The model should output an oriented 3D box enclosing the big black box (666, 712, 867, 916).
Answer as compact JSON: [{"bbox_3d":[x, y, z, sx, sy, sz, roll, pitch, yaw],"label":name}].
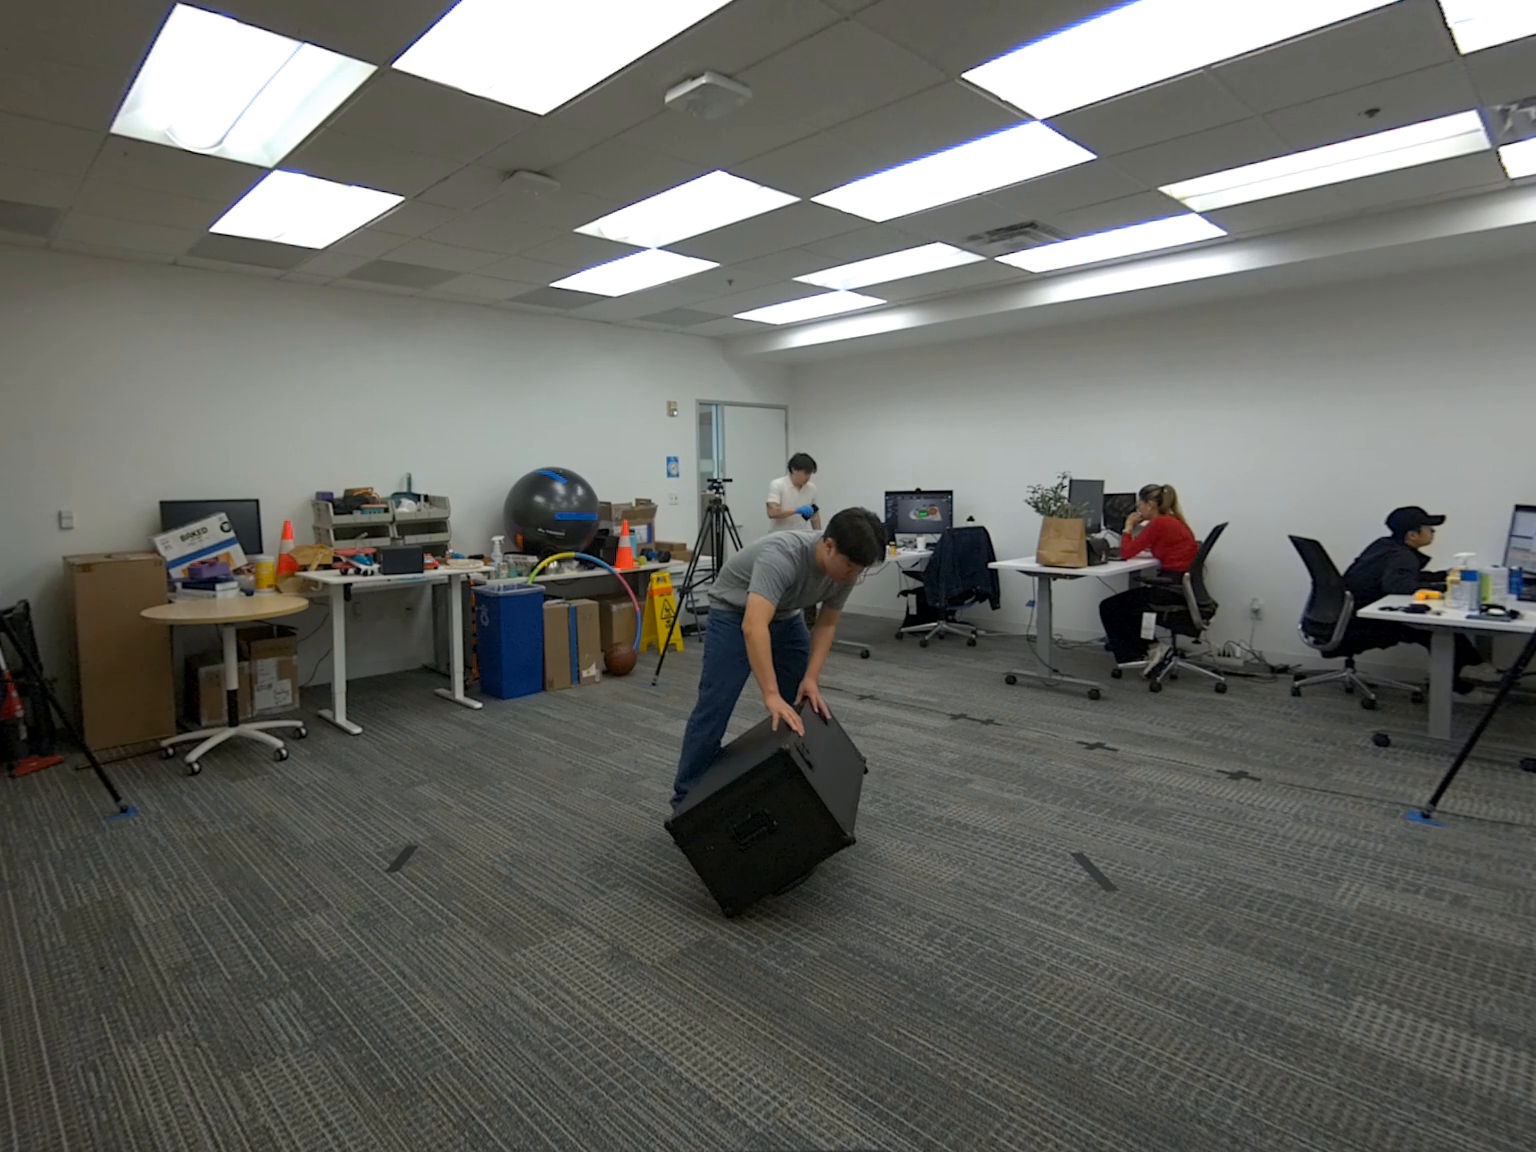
[{"bbox_3d":[0.042,0.770,3.050,0.523,0.398,0.856,-36,-1,12],"label":"big black box"}]
